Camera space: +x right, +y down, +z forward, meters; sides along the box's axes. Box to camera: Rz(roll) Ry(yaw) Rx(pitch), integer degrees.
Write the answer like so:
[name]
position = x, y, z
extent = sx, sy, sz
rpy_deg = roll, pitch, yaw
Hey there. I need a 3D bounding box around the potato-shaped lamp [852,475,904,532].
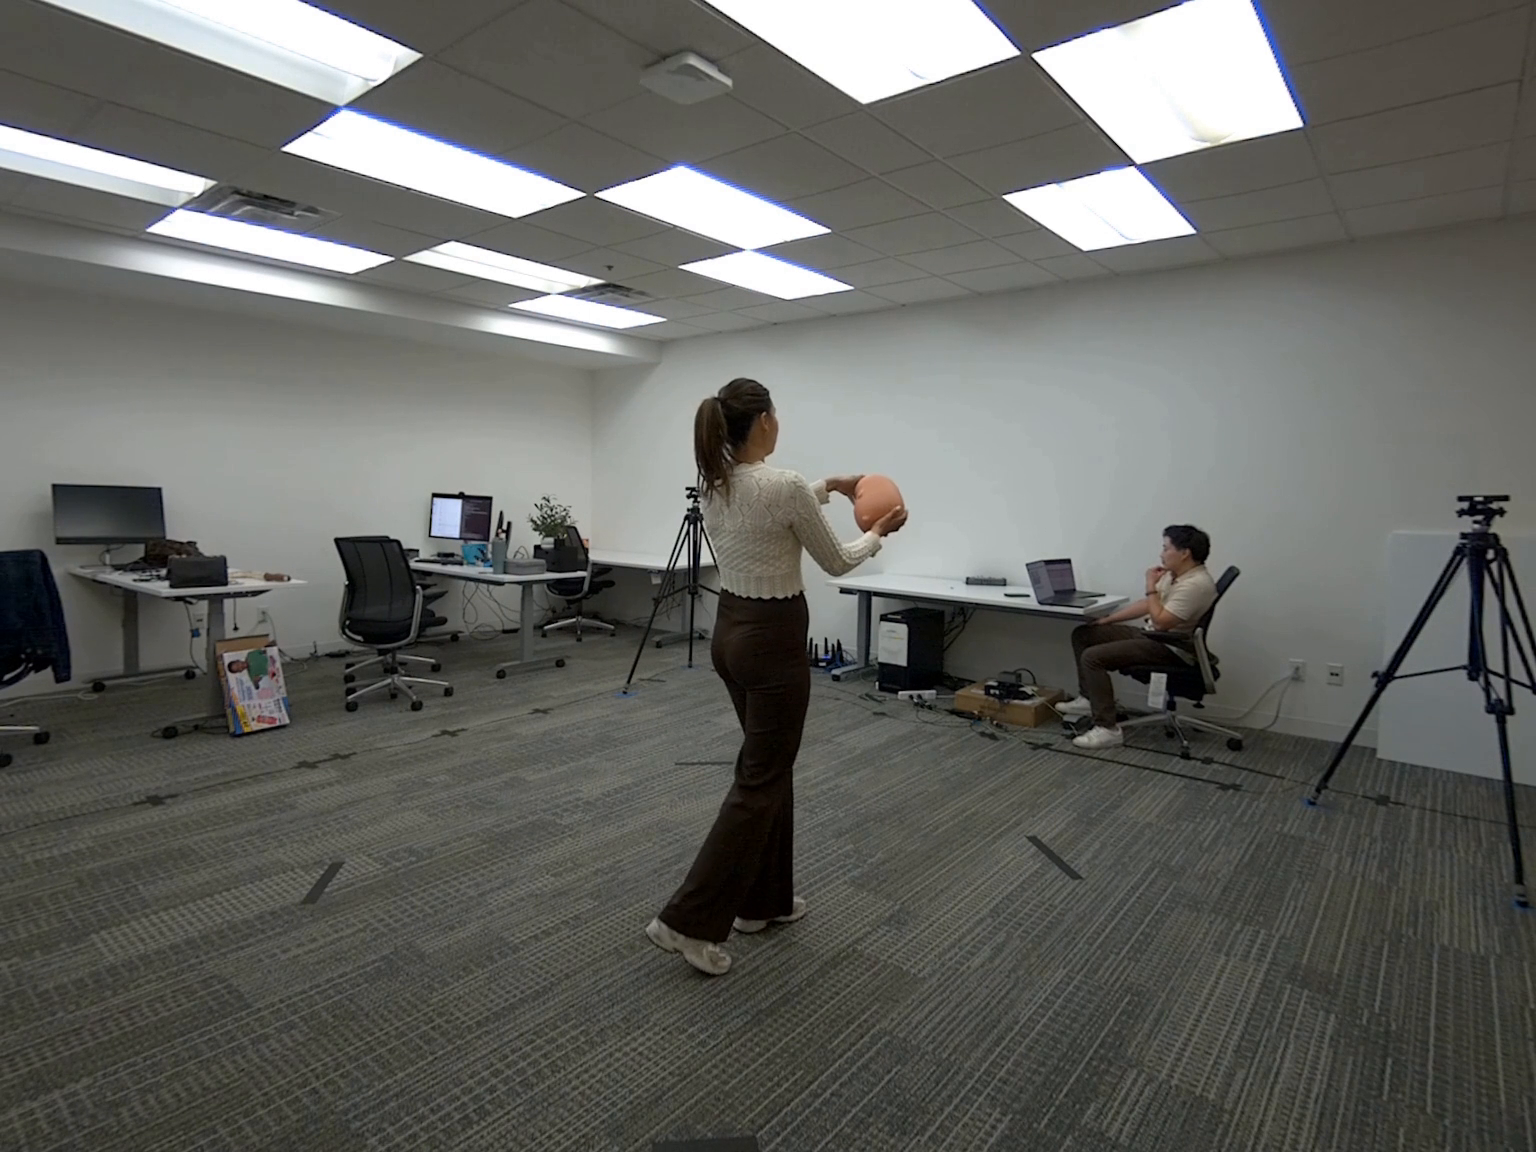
[potato-shaped lamp]
position = 0.356, -0.251, 2.862
extent = 0.171, 0.205, 0.159
rpy_deg = -19, -33, 1
